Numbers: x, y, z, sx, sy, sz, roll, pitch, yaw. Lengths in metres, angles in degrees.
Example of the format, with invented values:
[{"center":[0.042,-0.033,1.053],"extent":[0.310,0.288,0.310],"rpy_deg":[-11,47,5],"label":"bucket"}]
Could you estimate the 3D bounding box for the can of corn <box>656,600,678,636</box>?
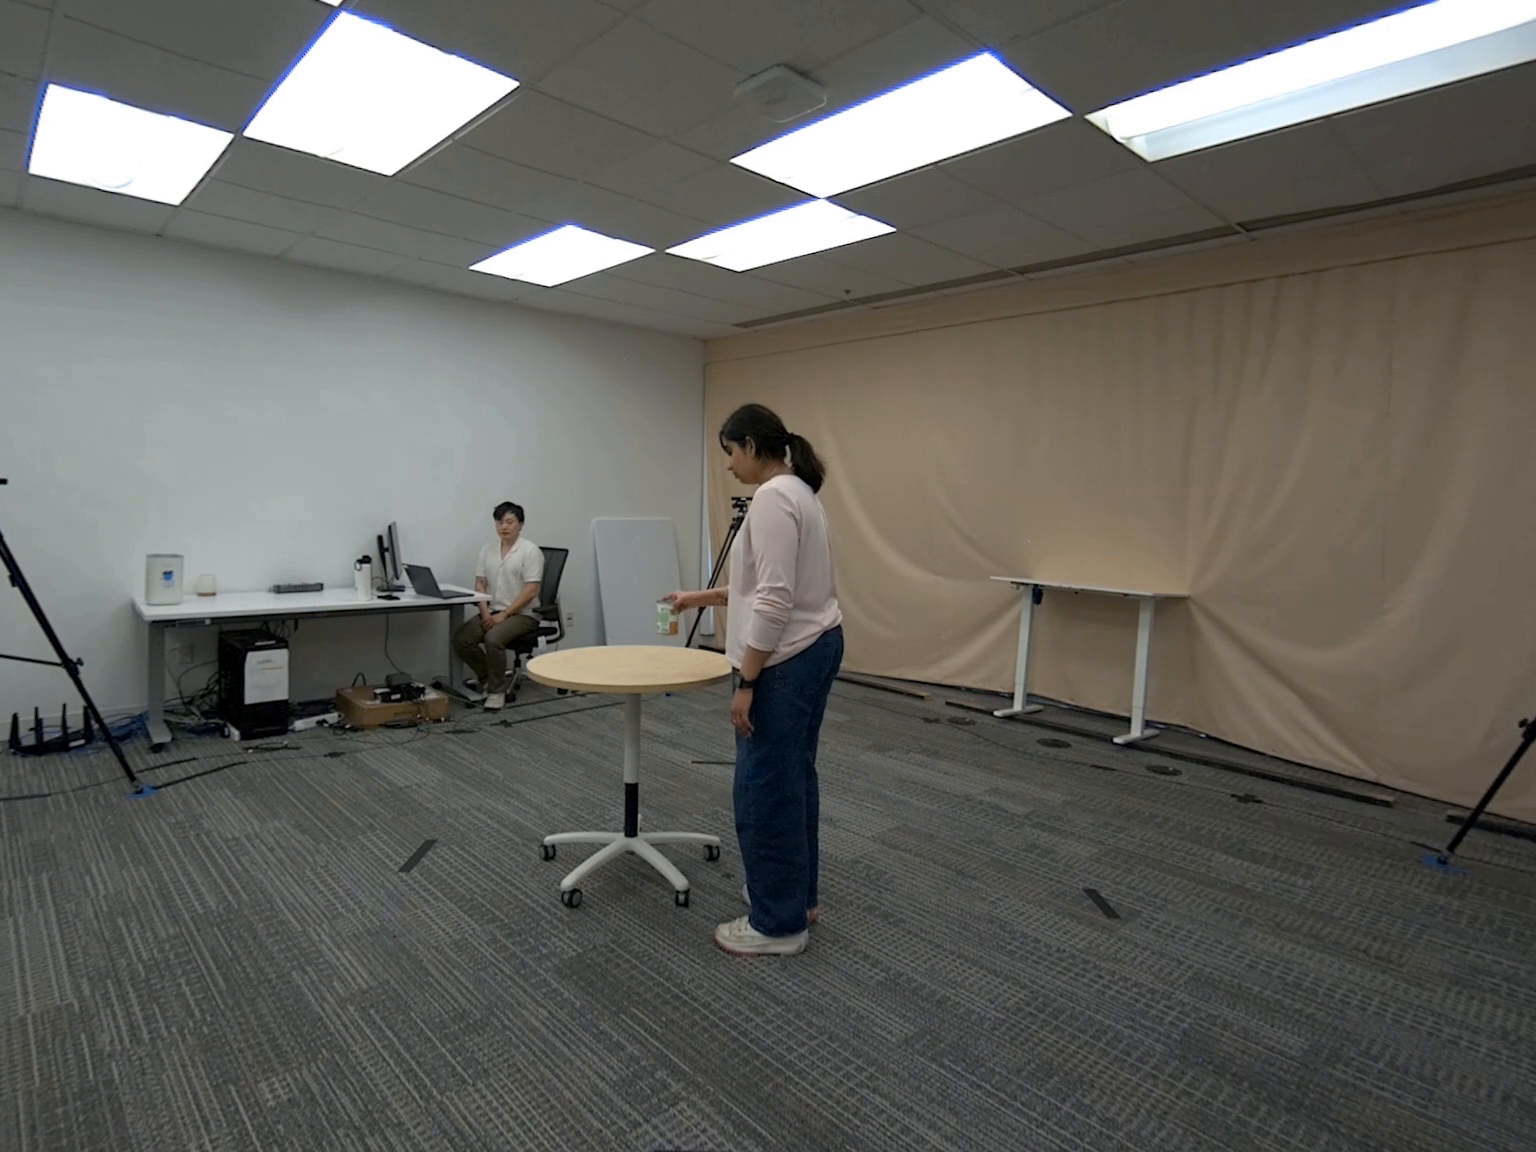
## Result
[{"center":[-0.349,0.144,2.867],"extent":[0.074,0.111,0.074],"rpy_deg":[0,3,-1],"label":"can of corn"}]
